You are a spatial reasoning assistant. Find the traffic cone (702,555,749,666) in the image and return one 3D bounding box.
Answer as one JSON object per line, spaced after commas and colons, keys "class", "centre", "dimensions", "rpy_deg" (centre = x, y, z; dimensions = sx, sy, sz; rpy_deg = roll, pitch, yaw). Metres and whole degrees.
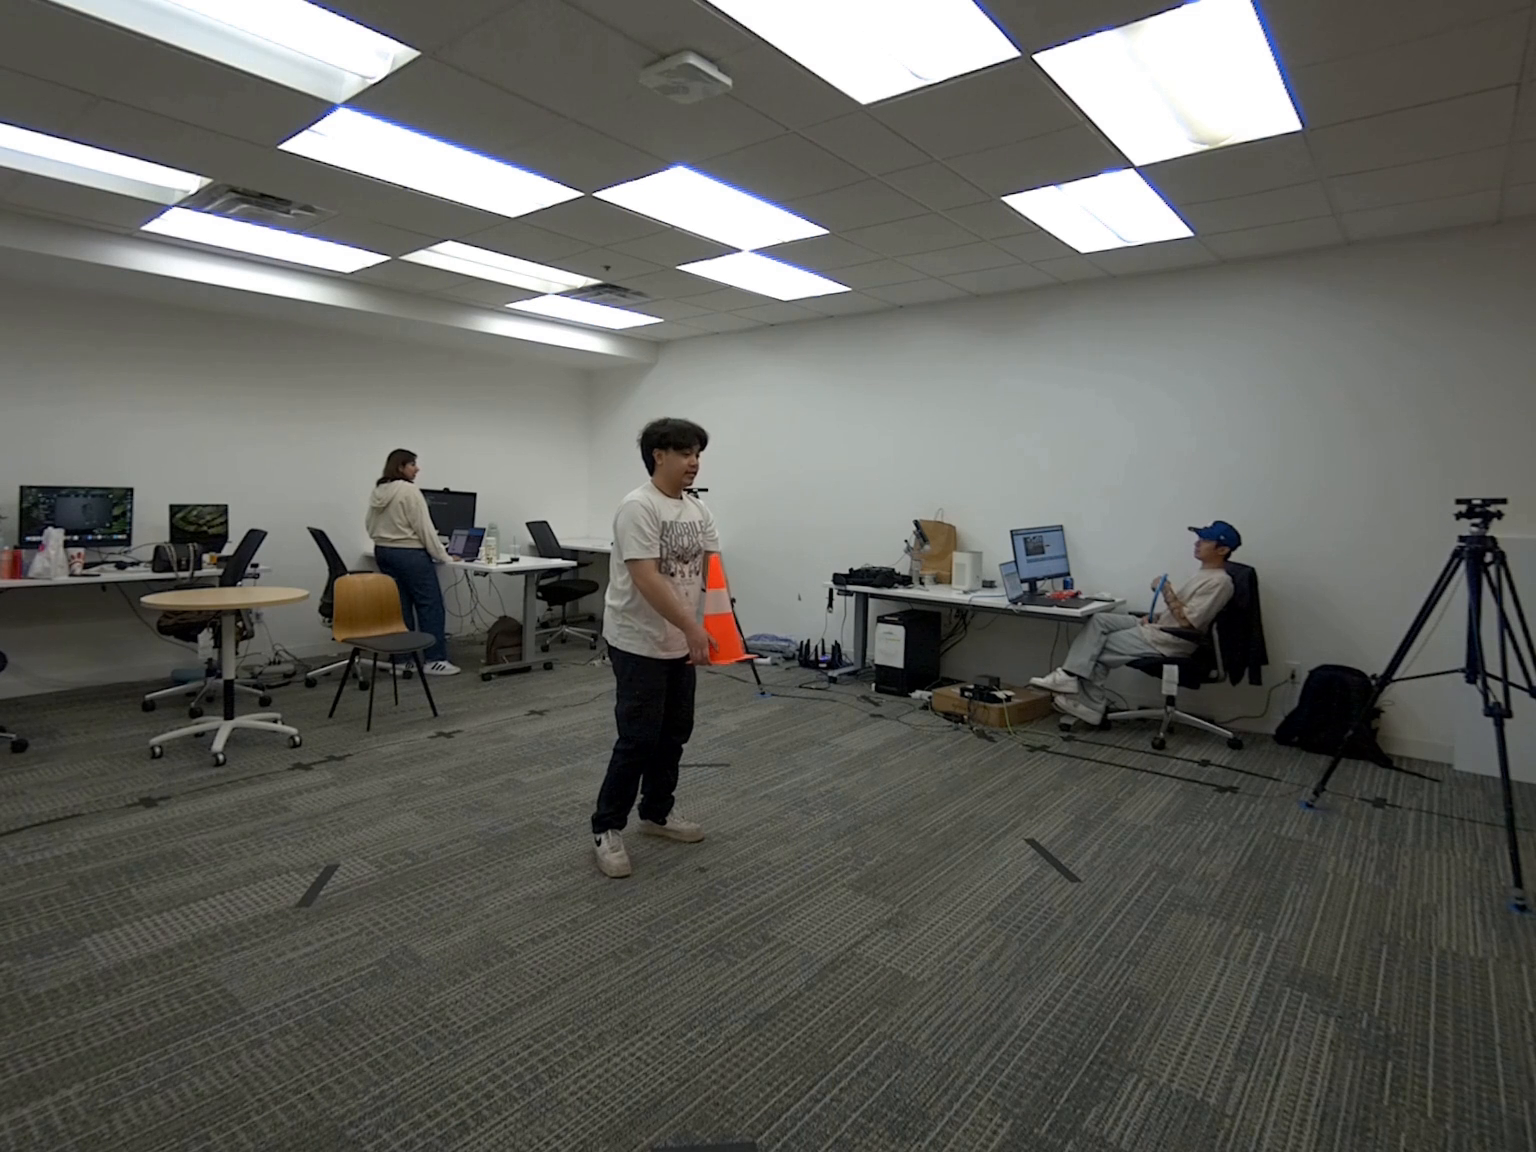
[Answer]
{"class": "traffic cone", "centre": [-0.200, 0.116, 3.124], "dimensions": [0.209, 0.385, 0.199], "rpy_deg": [-6, -4, 38]}
